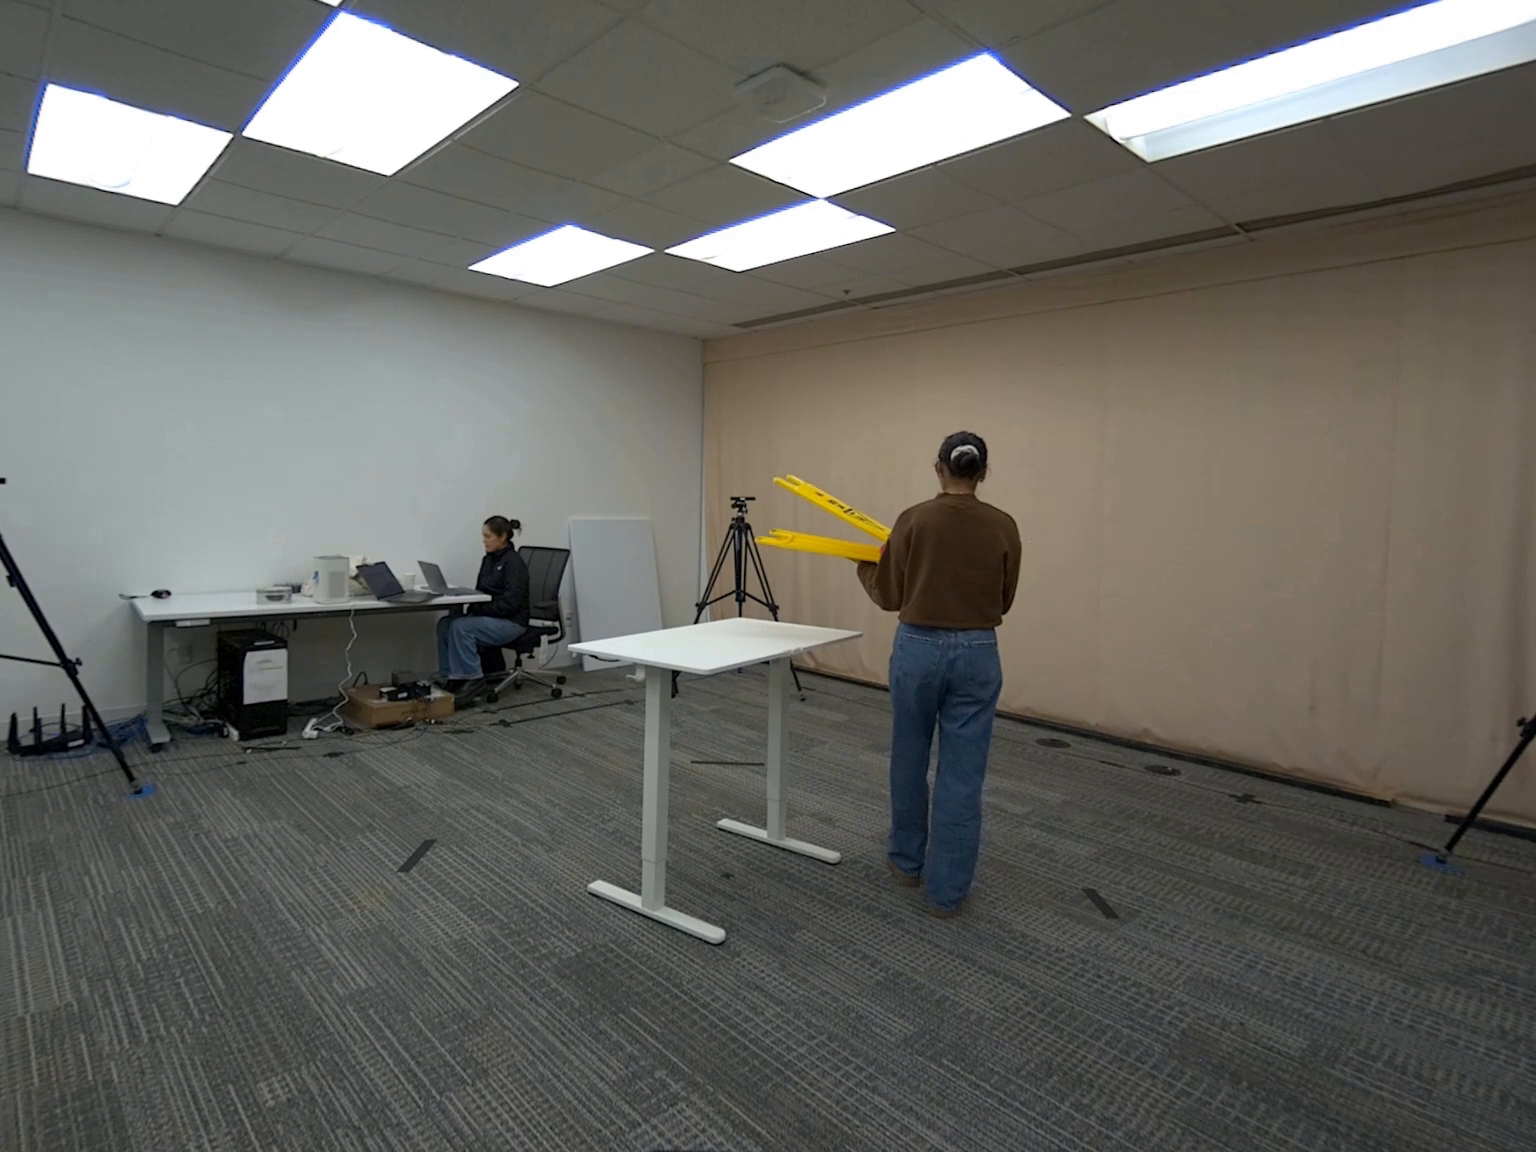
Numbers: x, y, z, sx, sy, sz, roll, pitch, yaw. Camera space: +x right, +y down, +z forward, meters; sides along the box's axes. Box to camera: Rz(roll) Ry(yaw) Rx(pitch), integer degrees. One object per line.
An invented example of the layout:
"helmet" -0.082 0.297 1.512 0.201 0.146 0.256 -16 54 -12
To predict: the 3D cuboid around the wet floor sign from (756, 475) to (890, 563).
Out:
"wet floor sign" 0.315 -0.158 3.226 0.655 0.288 0.280 19 15 14
